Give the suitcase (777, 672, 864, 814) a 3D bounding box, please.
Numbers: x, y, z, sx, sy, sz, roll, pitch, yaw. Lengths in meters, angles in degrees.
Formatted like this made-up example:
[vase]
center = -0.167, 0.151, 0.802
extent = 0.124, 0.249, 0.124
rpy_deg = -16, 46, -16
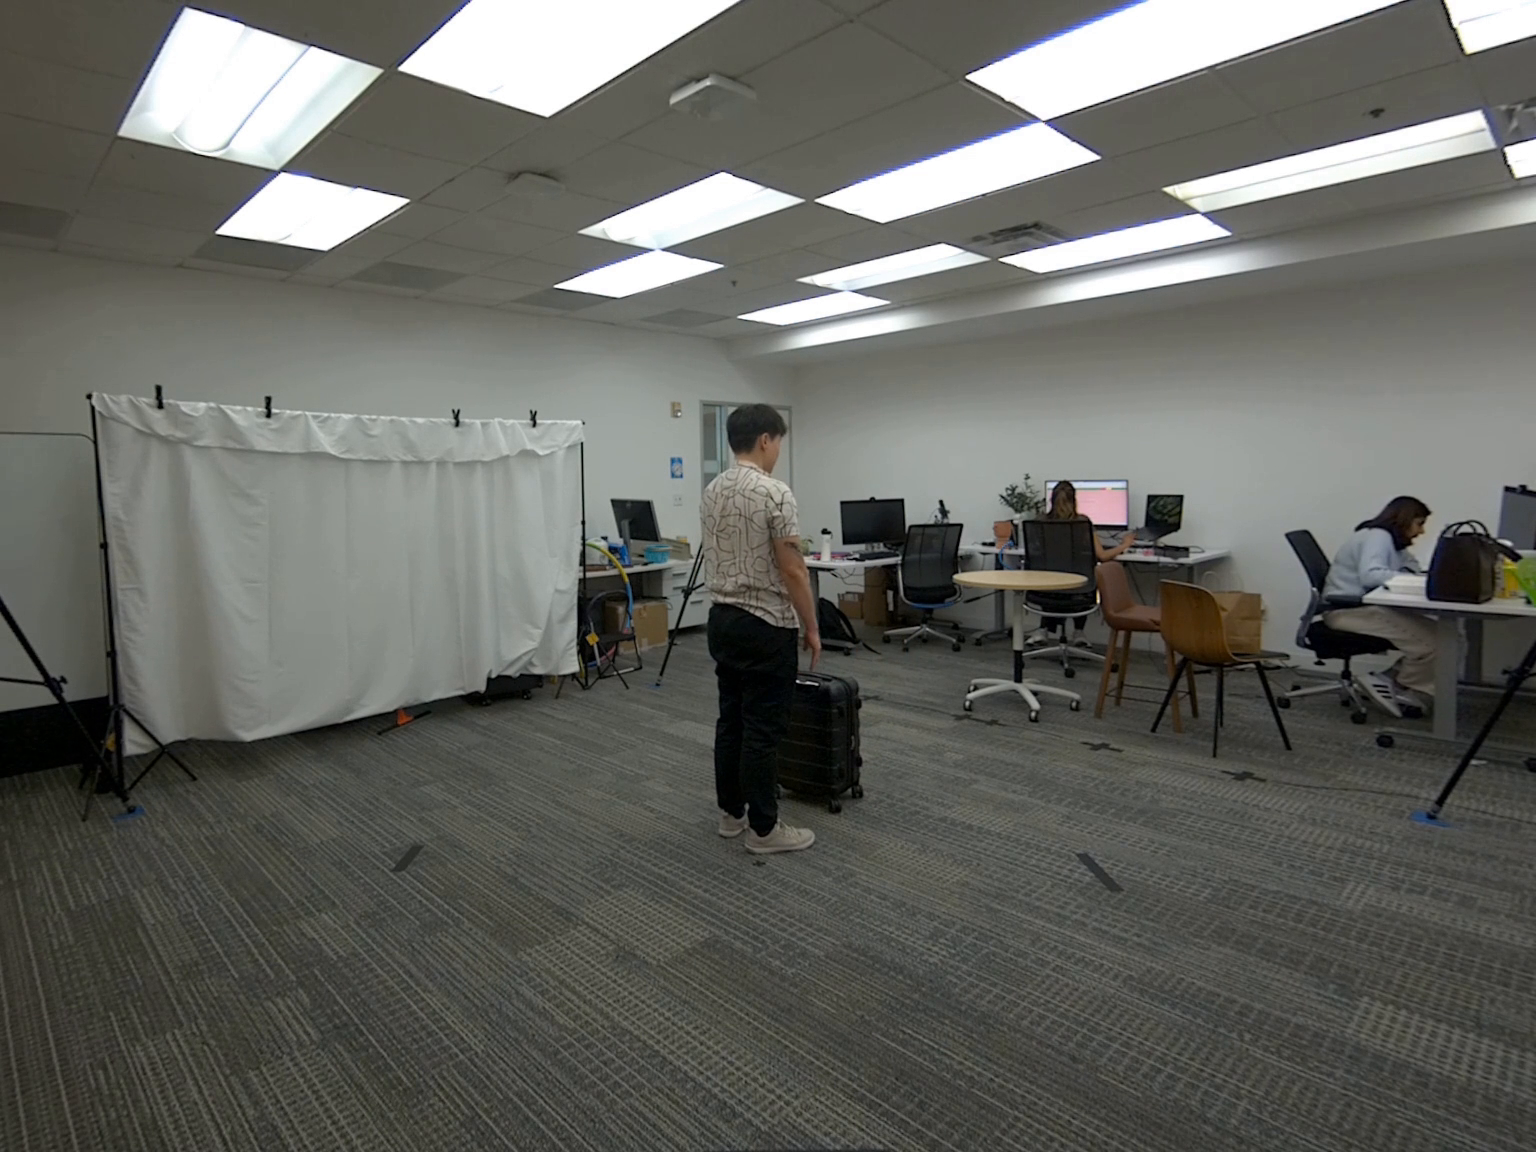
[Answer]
[suitcase]
center = 0.212, 0.696, 3.761
extent = 0.386, 0.548, 0.242
rpy_deg = 2, 3, 36
